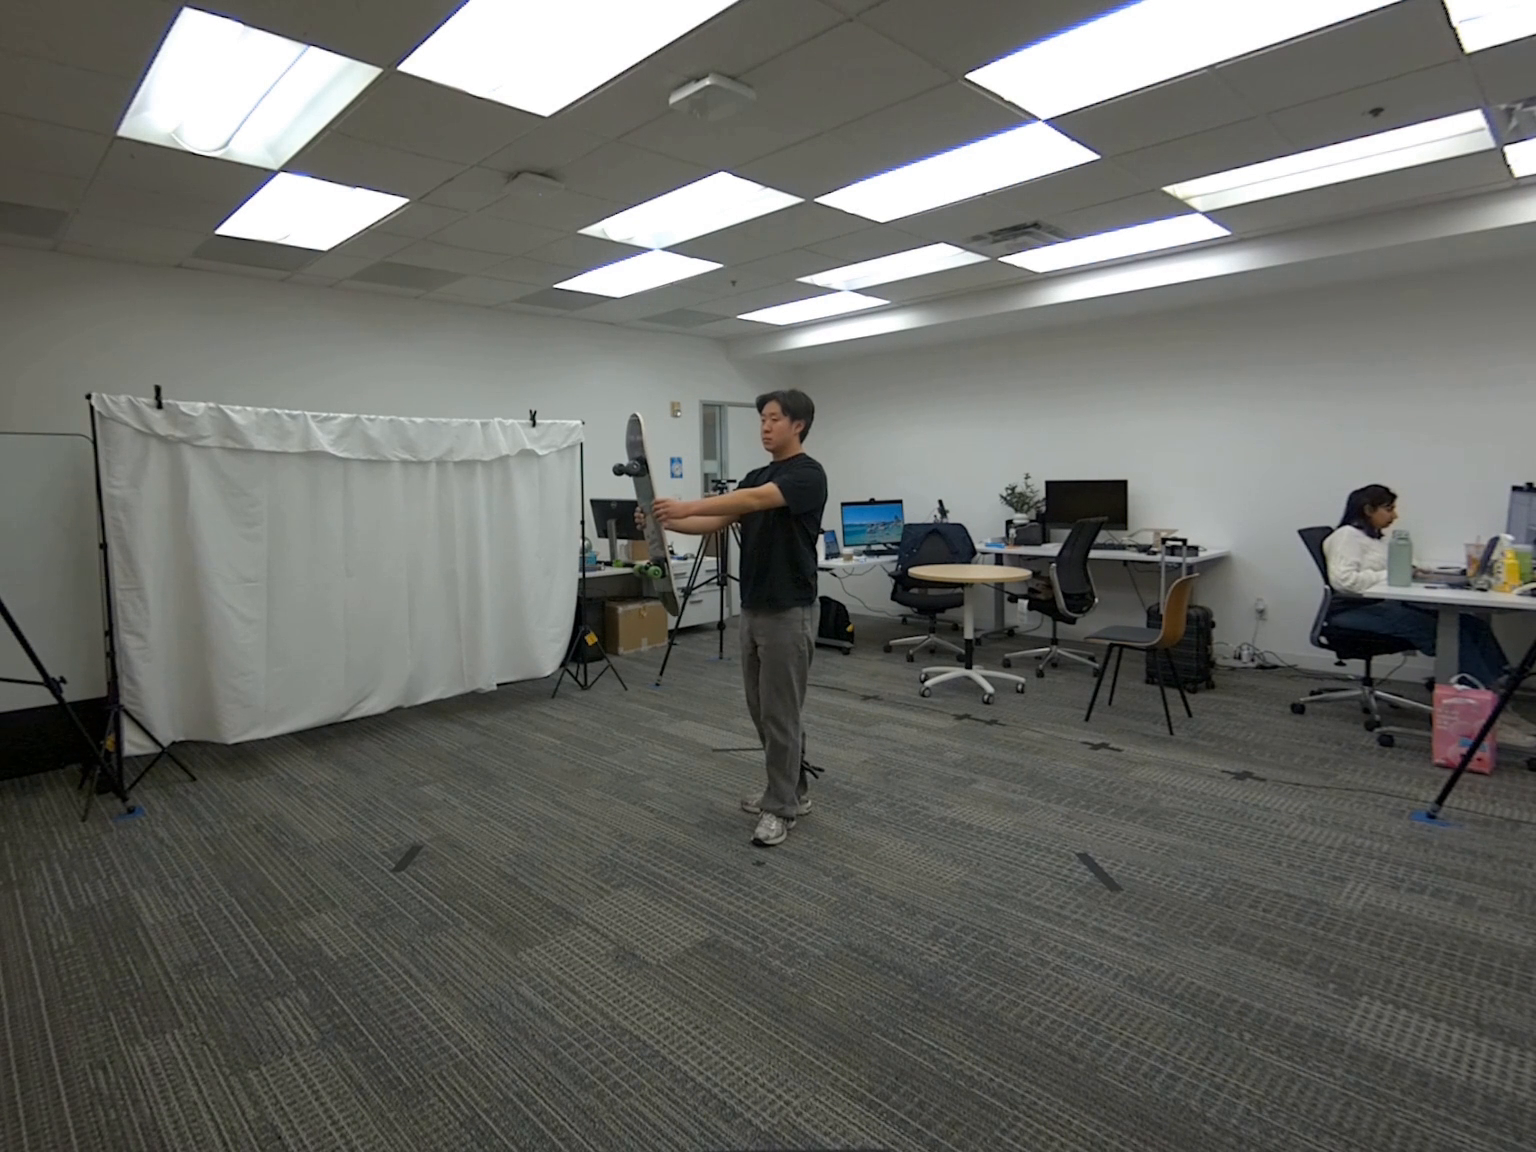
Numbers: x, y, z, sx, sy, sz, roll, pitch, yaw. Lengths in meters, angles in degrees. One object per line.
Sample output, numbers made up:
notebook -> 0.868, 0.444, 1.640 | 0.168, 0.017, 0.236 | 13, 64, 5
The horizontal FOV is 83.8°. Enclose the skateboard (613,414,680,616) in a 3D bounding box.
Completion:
skateboard -> -0.469, -0.217, 3.228 | 0.108, 0.780, 0.198 | -14, 7, -27
